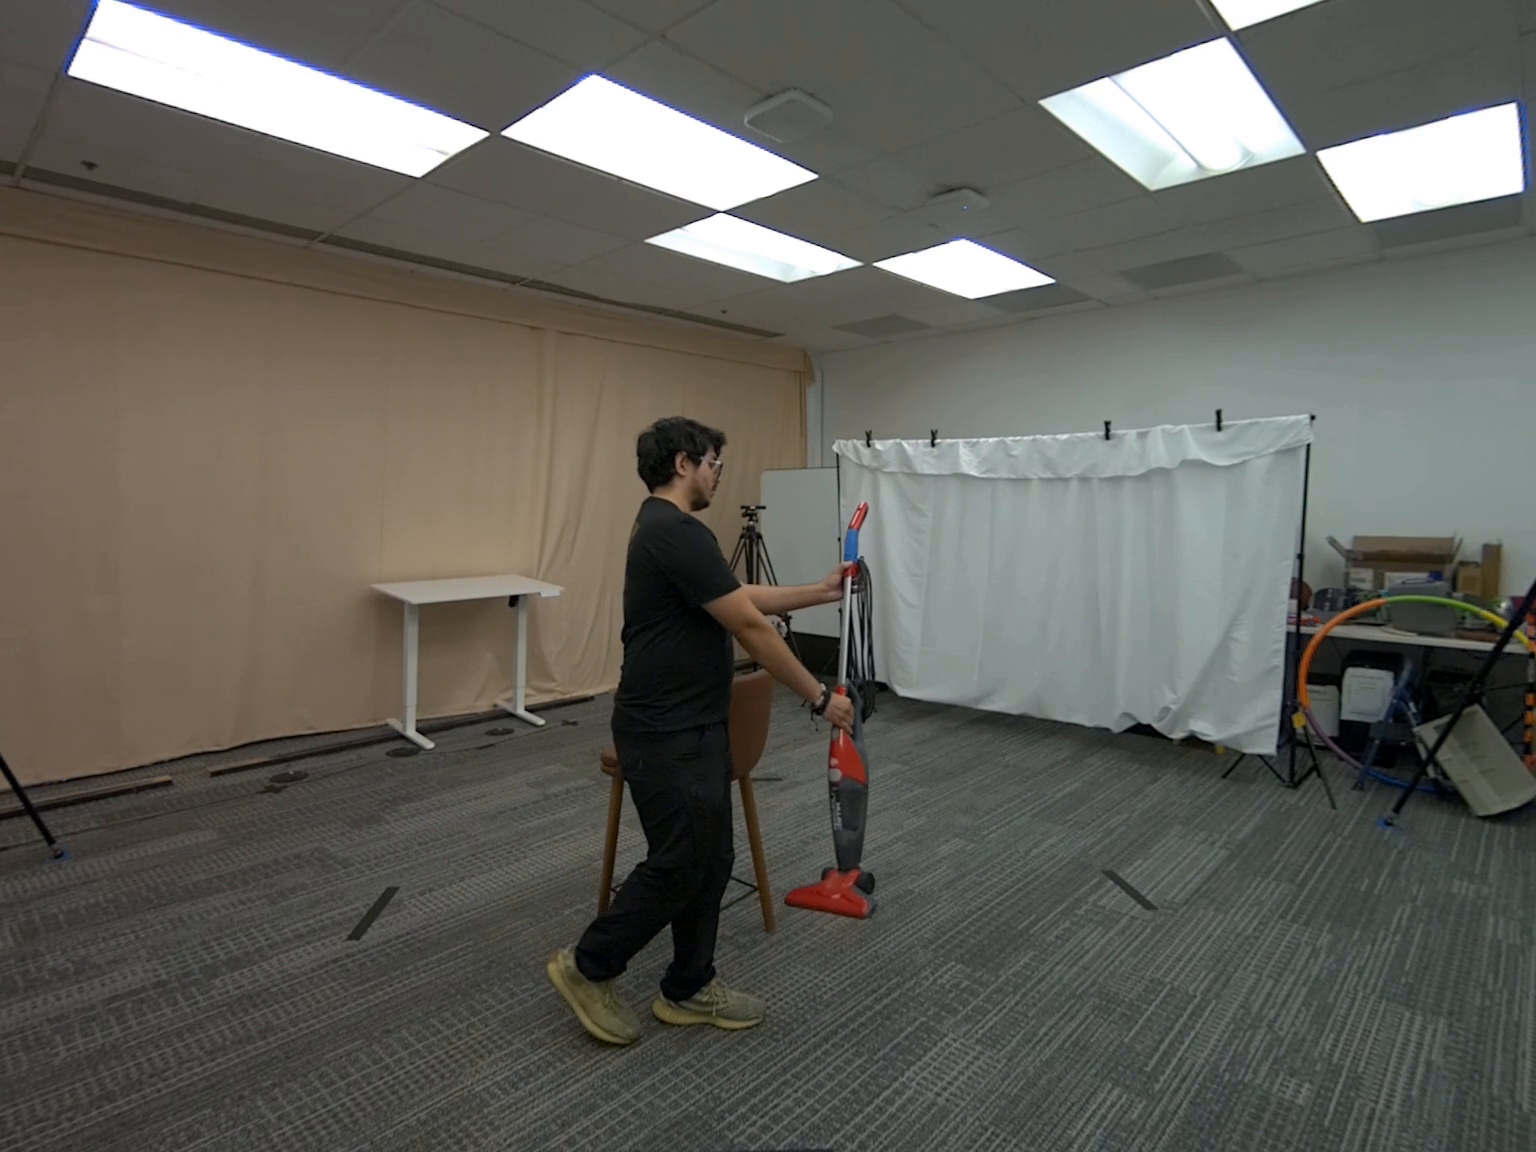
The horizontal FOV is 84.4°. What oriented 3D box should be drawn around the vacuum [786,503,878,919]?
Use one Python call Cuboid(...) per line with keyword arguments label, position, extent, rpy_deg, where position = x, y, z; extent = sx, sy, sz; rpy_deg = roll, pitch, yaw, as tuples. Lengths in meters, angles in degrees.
Cuboid(label="vacuum", position=(0.232, 0.300, 2.253), extent=(0.139, 1.058, 0.259), rpy_deg=(19, -21, -33))
